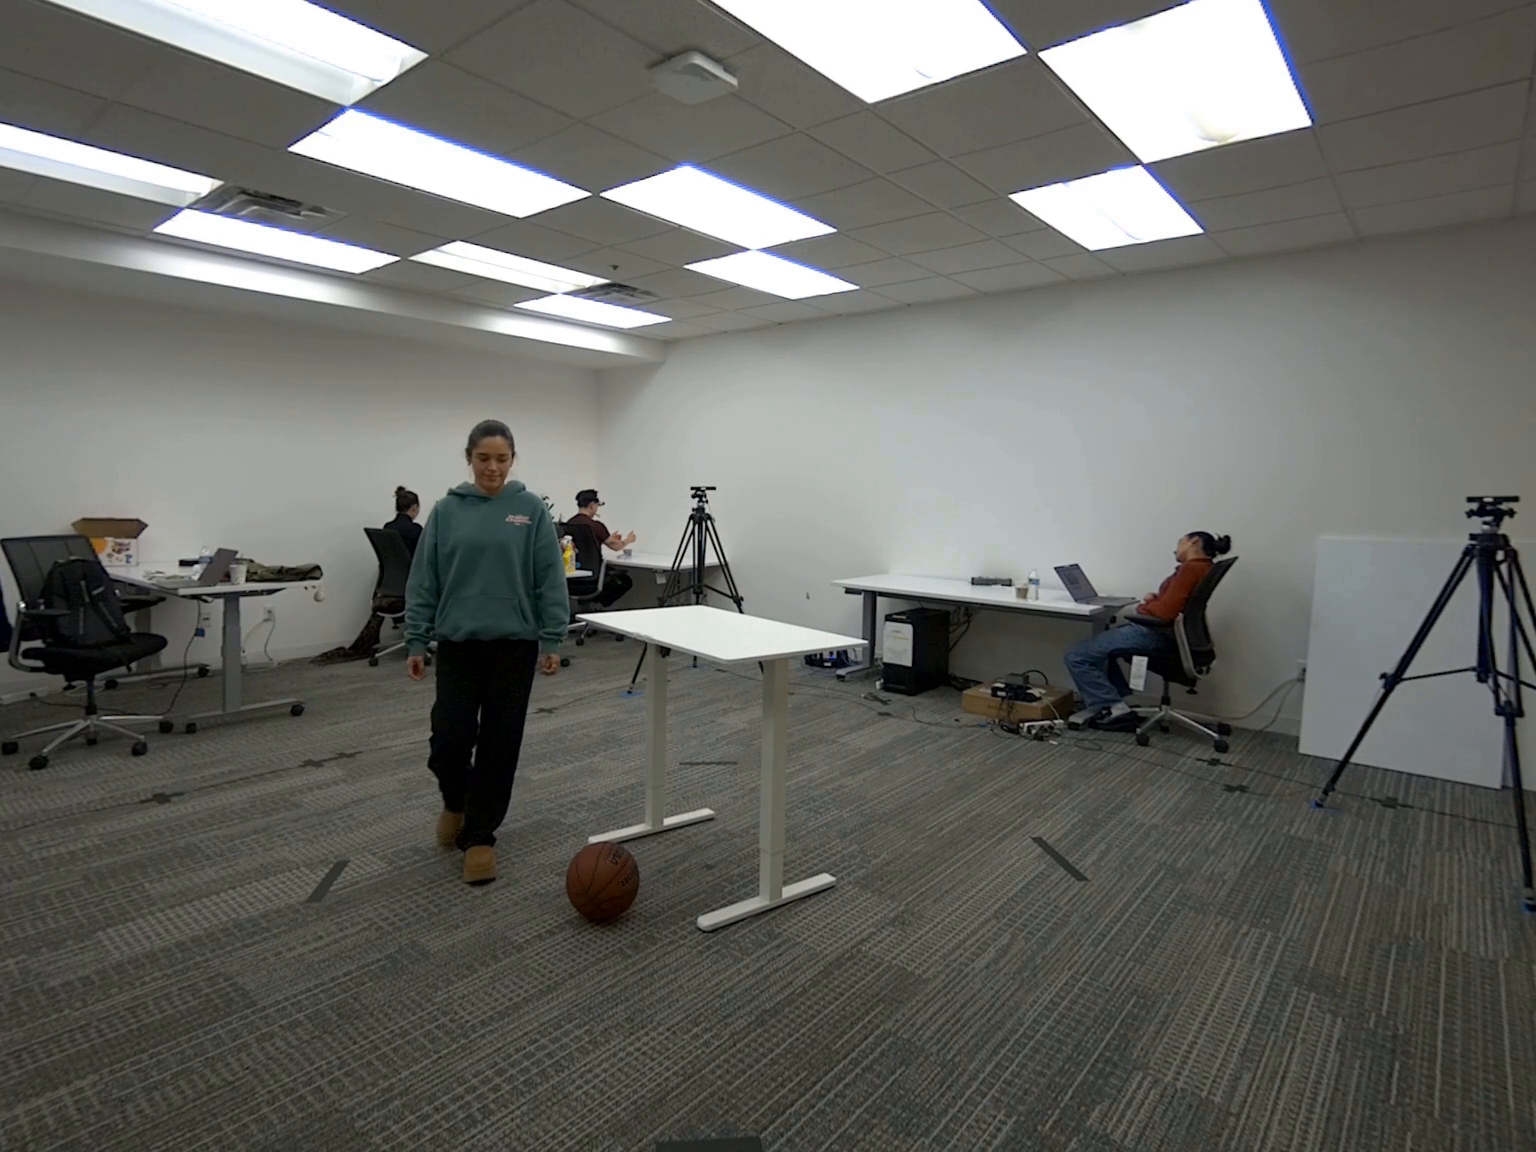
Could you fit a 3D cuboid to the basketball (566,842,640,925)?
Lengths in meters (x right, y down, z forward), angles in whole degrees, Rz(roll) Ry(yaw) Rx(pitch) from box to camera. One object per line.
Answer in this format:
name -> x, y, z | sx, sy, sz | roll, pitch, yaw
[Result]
basketball -> -0.548, 0.983, 2.734 | 0.235, 0.235, 0.237 | 1, 4, -2
